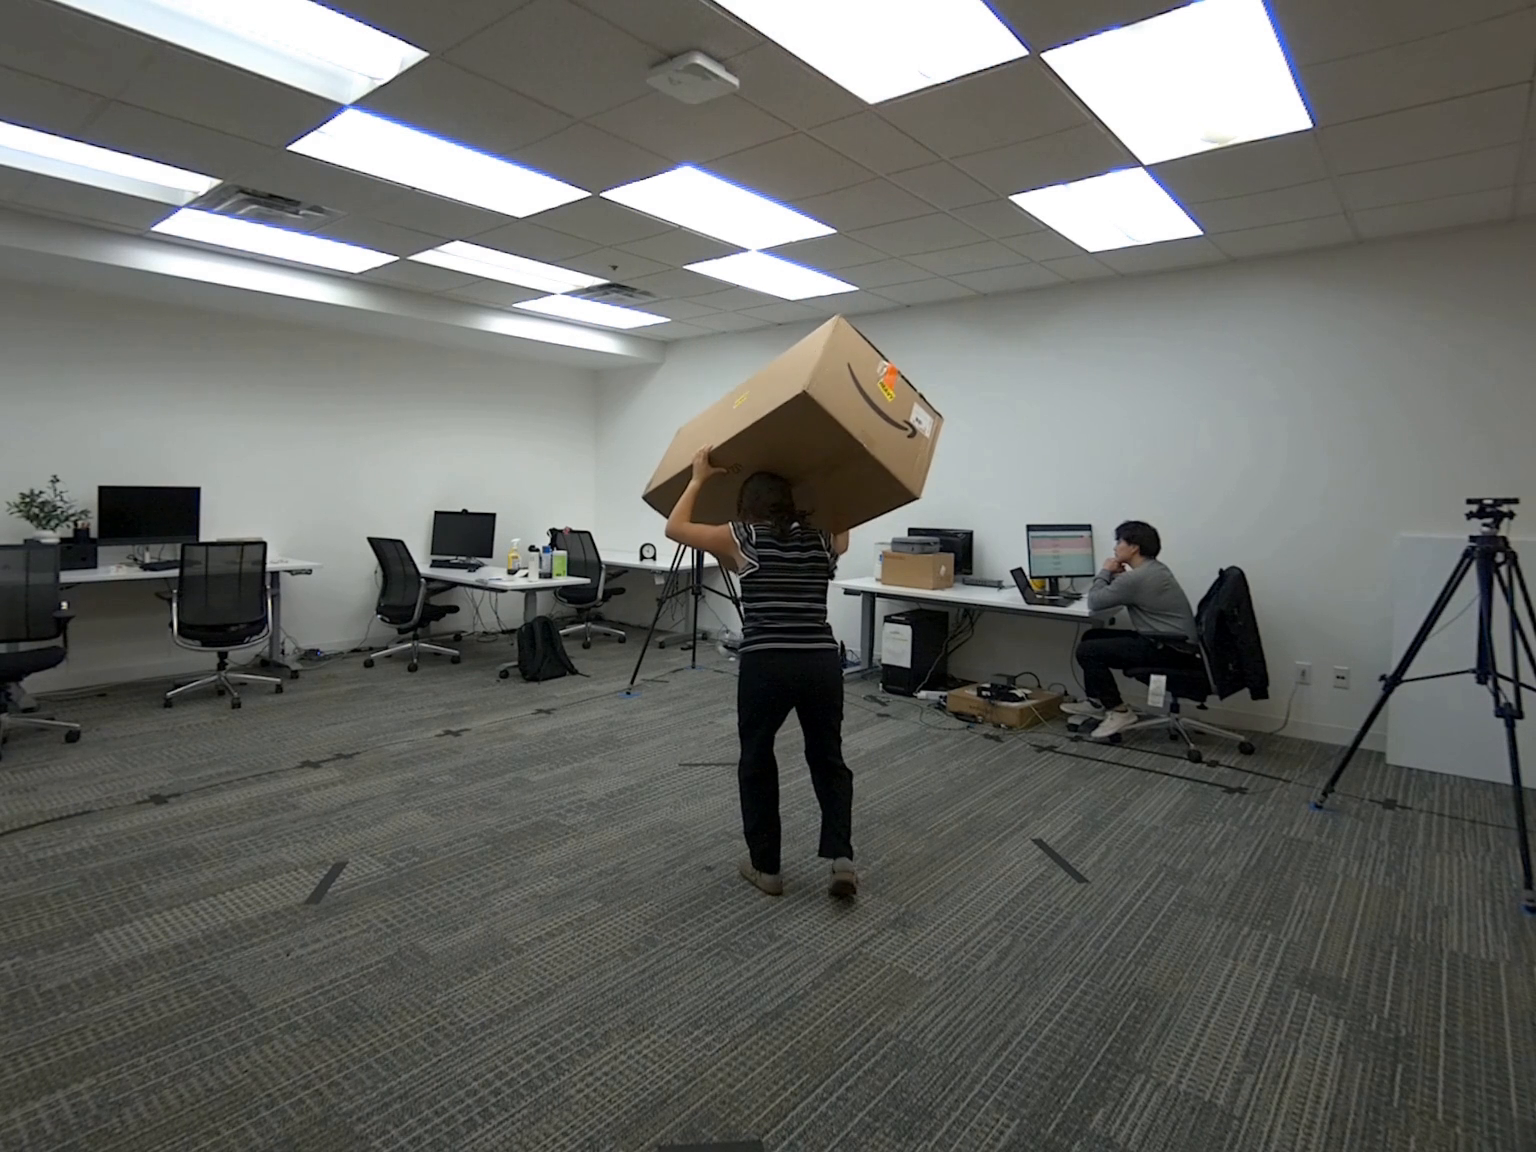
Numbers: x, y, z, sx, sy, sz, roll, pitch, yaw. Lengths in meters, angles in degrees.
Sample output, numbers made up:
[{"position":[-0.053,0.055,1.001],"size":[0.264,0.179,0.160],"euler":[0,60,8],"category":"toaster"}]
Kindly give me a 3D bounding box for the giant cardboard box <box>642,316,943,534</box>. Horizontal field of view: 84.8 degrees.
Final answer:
[{"position":[0.056,-0.448,3.312],"size":[0.562,0.431,1.042],"euler":[40,-37,-21],"category":"giant cardboard box"}]
